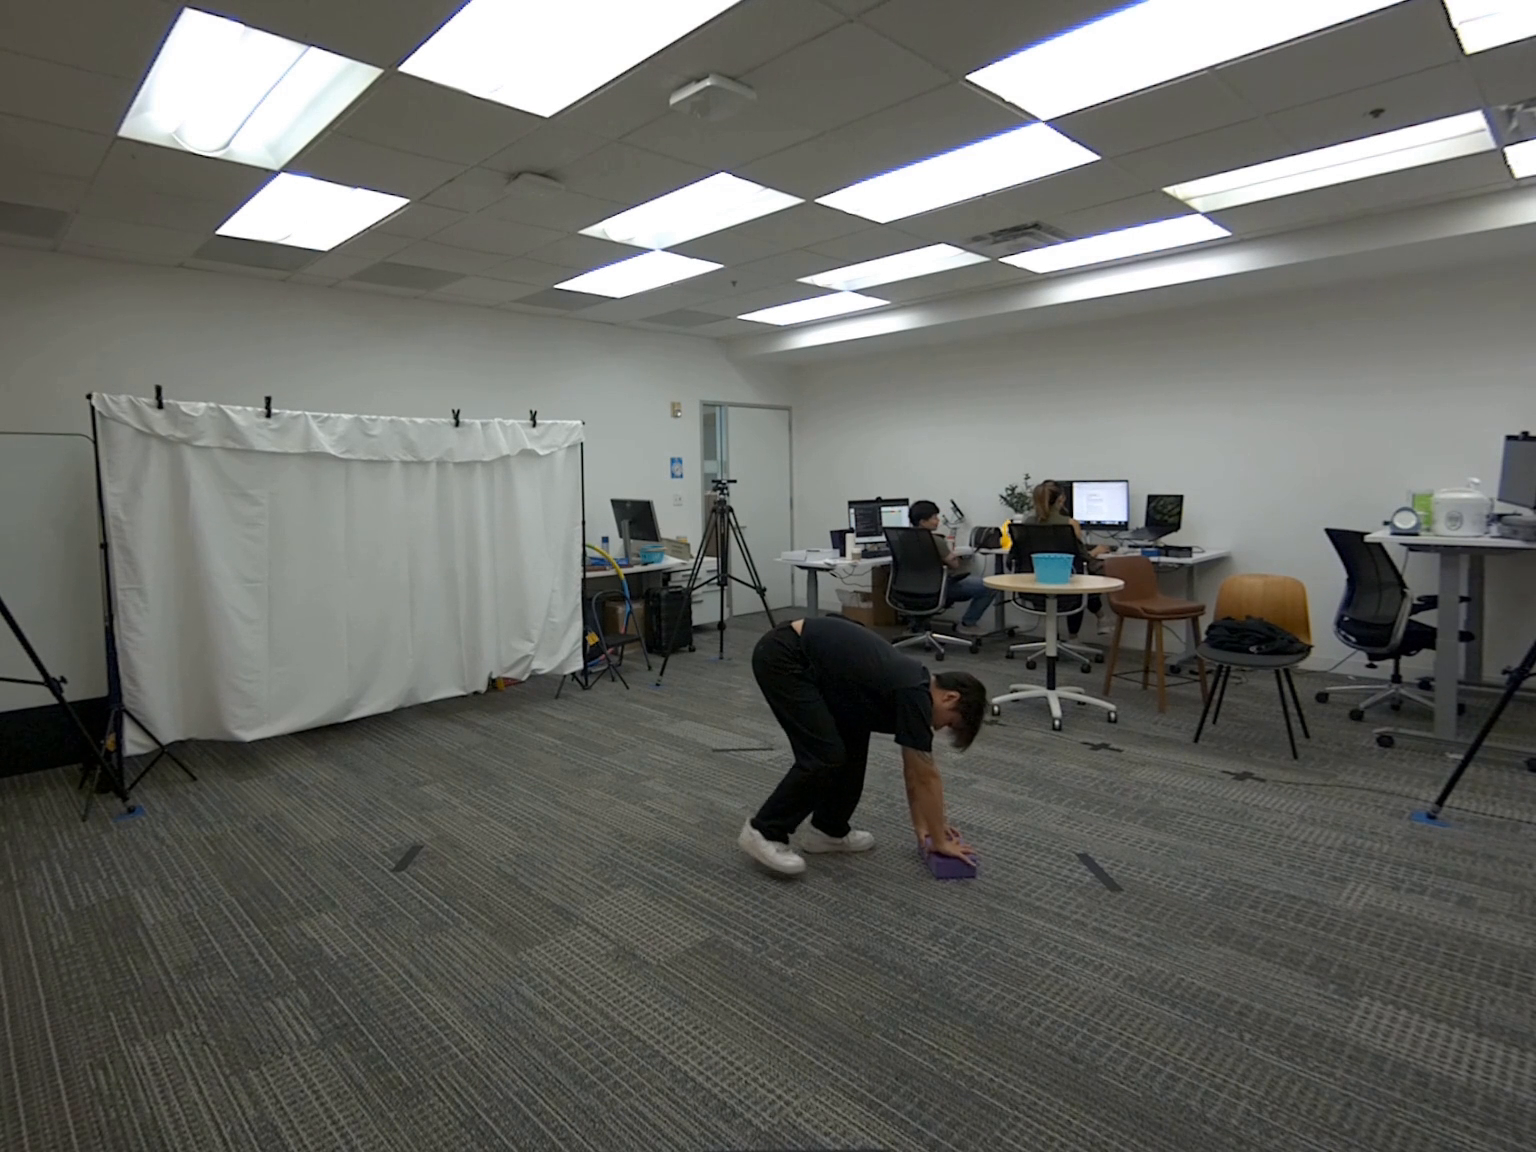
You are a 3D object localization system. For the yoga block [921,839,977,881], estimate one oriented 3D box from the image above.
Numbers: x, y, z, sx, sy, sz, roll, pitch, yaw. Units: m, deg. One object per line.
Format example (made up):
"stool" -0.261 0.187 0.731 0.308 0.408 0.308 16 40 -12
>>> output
"yoga block" 0.646 1.003 3.066 0.148 0.076 0.231 1 5 -5
